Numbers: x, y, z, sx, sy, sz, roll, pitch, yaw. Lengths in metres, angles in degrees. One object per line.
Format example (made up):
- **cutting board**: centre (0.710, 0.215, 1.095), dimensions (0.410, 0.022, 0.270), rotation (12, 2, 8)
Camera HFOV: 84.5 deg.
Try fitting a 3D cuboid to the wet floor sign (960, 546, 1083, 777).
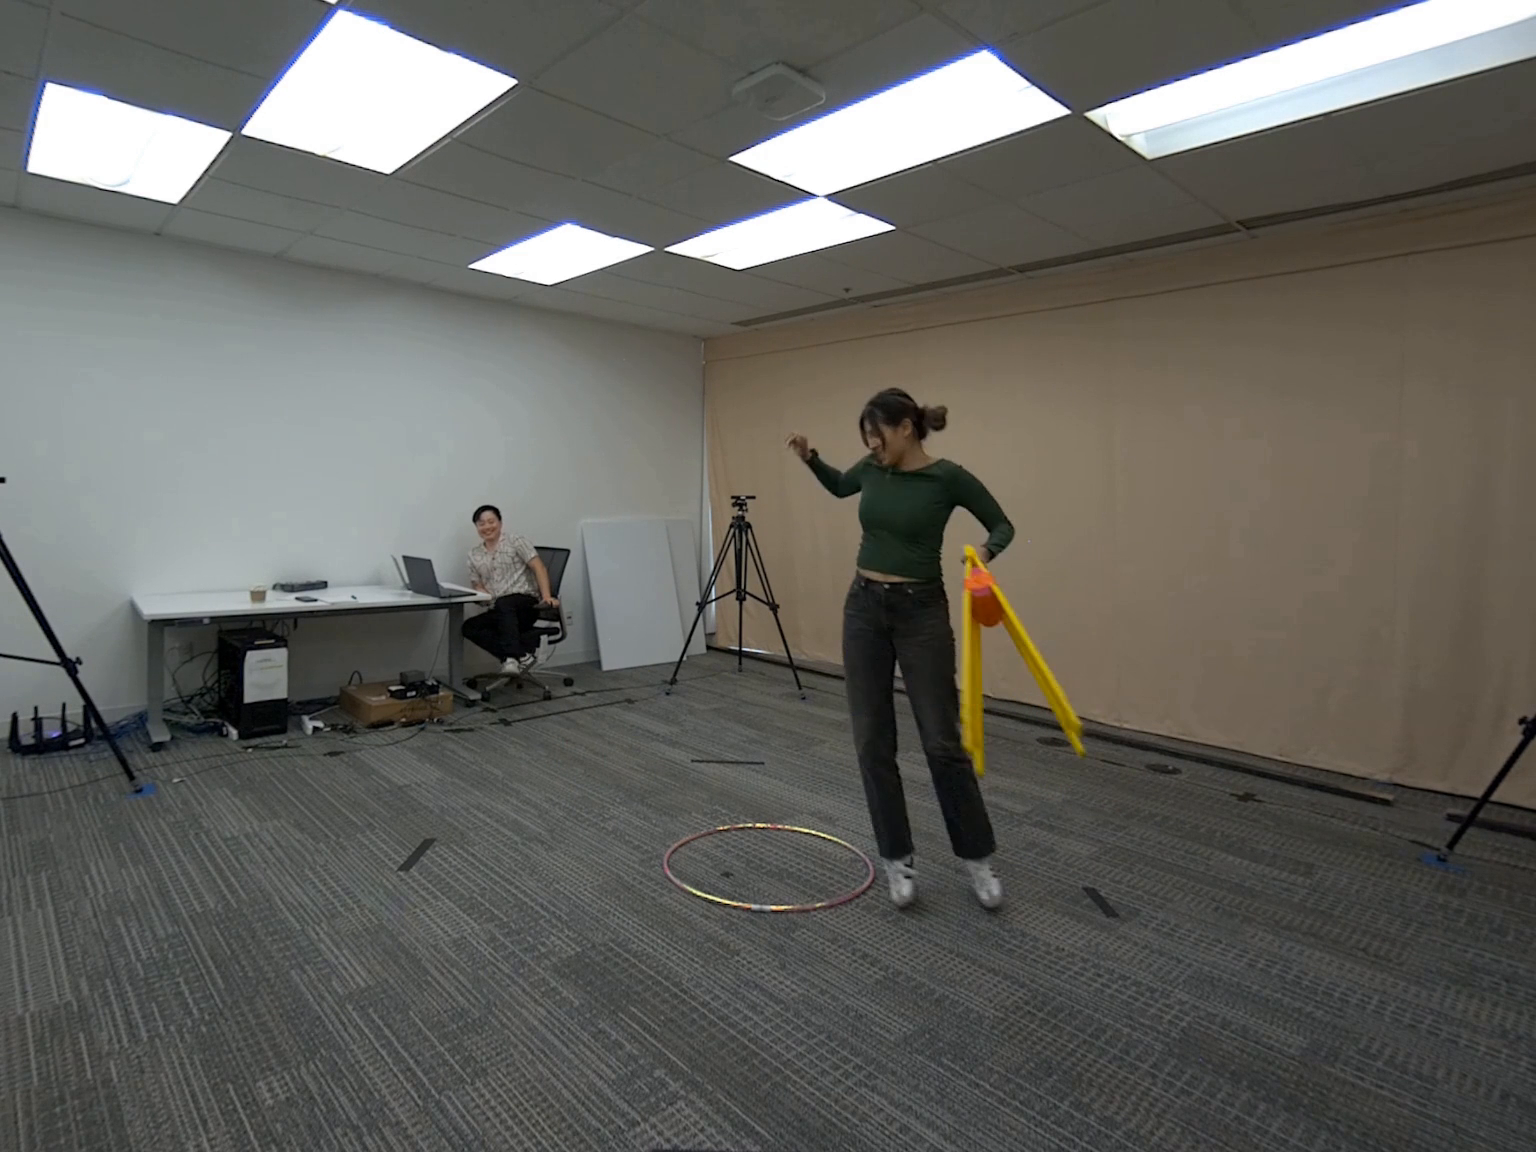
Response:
- **wet floor sign**: centre (0.663, 0.235, 2.521), dimensions (0.292, 0.660, 0.274), rotation (-14, -32, 12)
